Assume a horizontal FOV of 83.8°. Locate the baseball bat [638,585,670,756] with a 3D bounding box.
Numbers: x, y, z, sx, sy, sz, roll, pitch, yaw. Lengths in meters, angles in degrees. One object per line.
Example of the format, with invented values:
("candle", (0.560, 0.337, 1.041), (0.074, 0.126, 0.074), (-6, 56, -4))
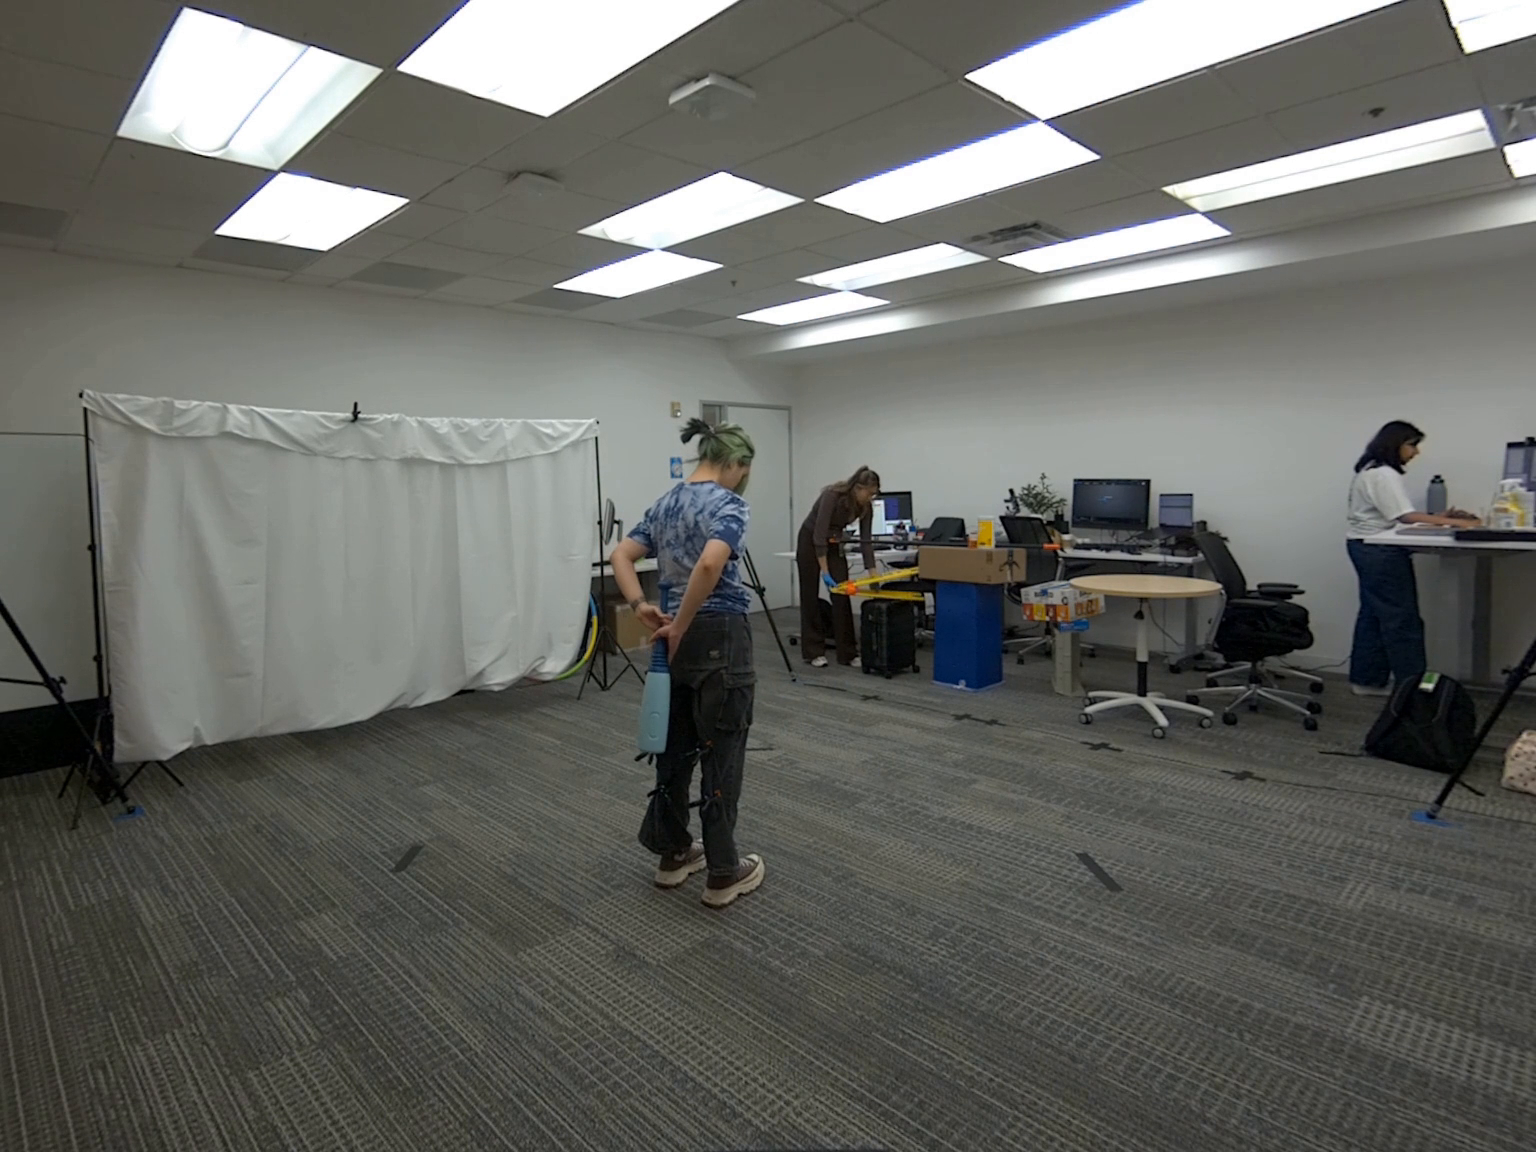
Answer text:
("baseball bat", (-0.339, 0.296, 2.722), (0.089, 0.548, 0.088), (4, -10, -1))
